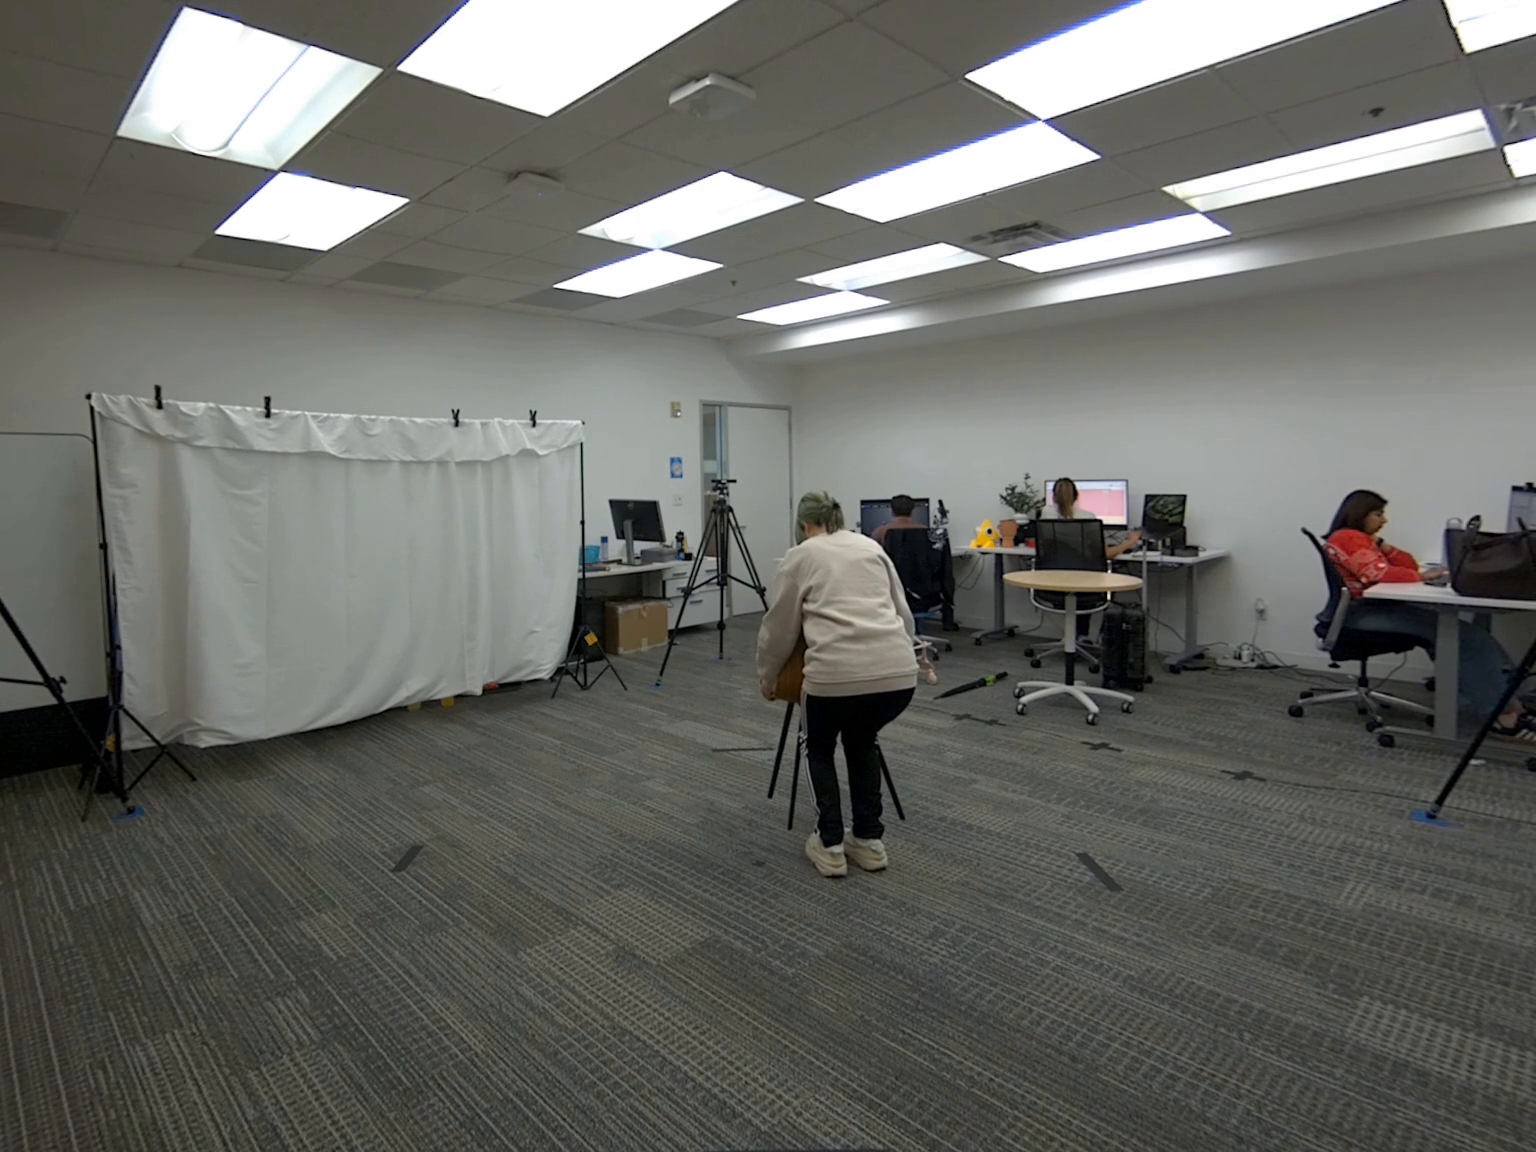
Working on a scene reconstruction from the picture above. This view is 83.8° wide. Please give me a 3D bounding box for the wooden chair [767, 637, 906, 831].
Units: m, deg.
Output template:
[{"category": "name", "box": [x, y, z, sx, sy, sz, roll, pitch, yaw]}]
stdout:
[{"category": "wooden chair", "box": [0.224, 0.505, 3.444, 0.474, 0.875, 0.529, -3, 3, -9]}]
